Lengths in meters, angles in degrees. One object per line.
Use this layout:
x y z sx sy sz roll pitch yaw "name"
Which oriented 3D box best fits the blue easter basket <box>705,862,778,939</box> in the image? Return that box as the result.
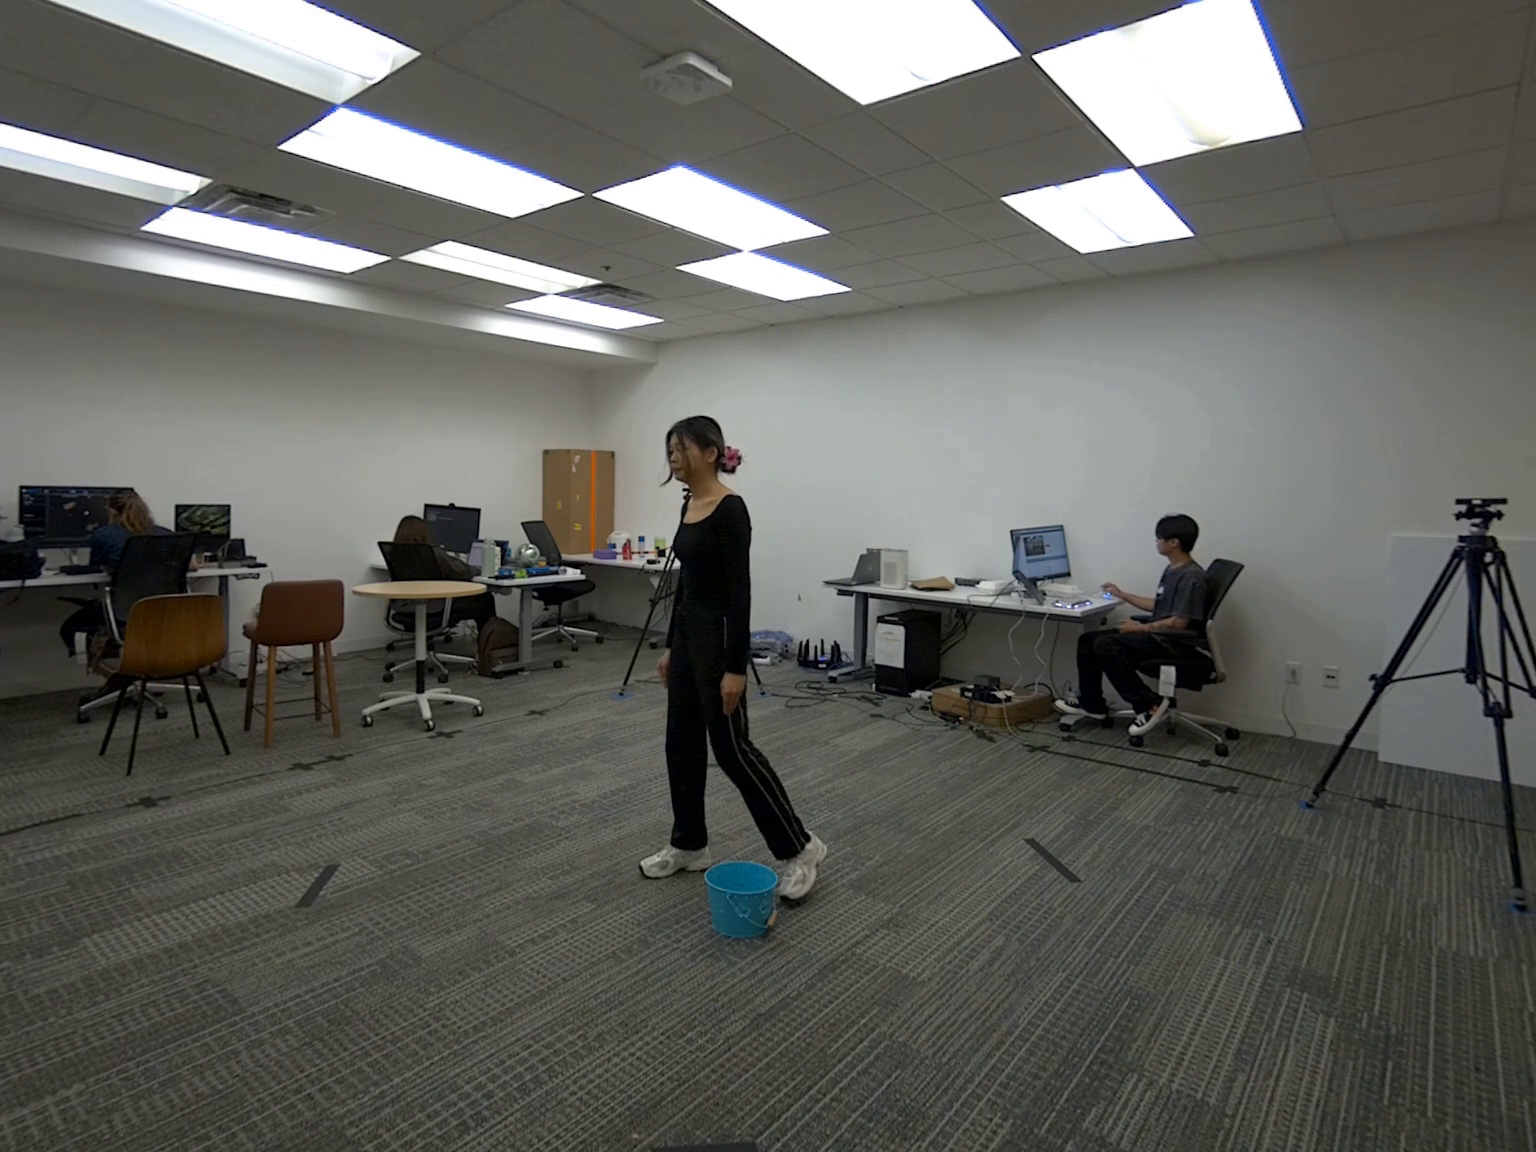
-0.093 1.030 2.725 0.243 0.155 0.245 1 5 -2 "blue easter basket"
